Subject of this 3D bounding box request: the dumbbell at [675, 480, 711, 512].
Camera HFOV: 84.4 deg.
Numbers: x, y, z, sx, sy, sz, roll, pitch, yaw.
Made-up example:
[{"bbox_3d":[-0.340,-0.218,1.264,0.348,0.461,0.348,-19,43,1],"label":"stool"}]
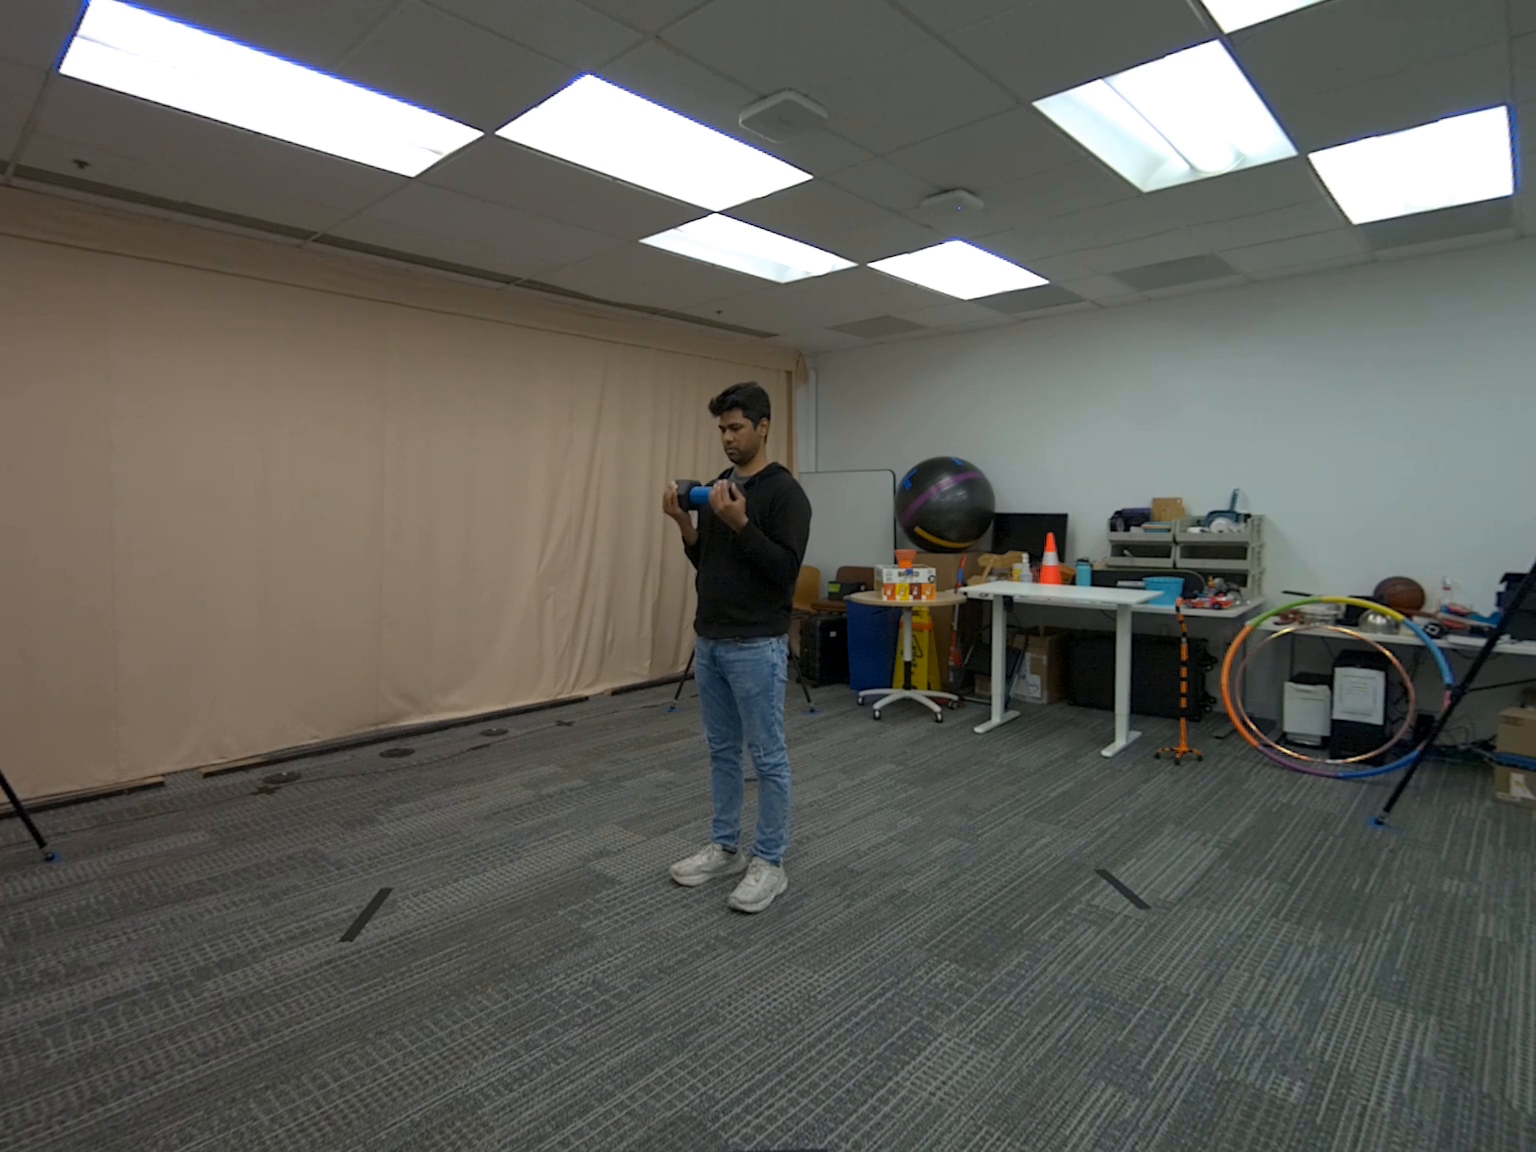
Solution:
[{"bbox_3d":[-0.204,-0.263,2.917,0.119,0.109,0.304,6,1,-43],"label":"dumbbell"}]
